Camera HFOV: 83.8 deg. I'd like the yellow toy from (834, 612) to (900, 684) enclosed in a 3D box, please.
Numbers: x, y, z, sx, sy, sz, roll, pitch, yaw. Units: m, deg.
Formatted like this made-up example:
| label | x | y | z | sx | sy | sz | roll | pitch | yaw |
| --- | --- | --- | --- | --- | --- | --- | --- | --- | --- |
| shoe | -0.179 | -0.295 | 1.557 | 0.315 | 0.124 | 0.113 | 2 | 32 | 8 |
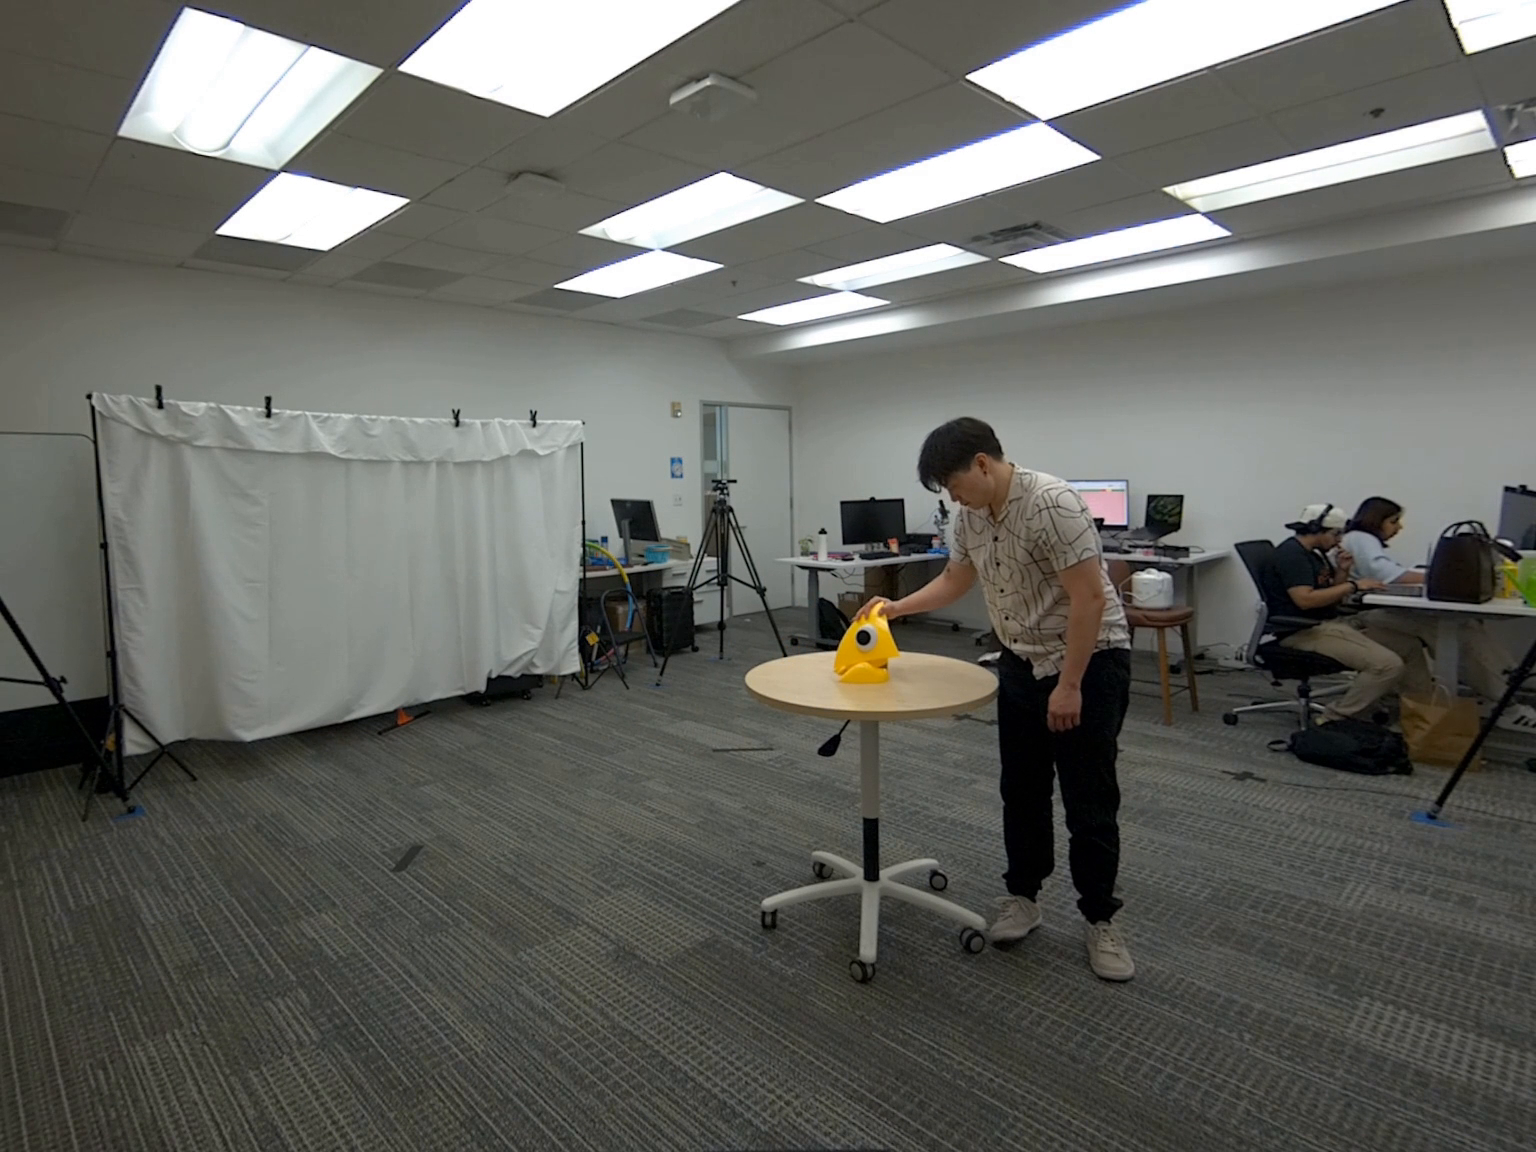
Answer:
| label | x | y | z | sx | sy | sz | roll | pitch | yaw |
| --- | --- | --- | --- | --- | --- | --- | --- | --- | --- |
| yellow toy | 0.303 | 0.196 | 2.647 | 0.192 | 0.229 | 0.206 | -2 | 6 | -3 |
